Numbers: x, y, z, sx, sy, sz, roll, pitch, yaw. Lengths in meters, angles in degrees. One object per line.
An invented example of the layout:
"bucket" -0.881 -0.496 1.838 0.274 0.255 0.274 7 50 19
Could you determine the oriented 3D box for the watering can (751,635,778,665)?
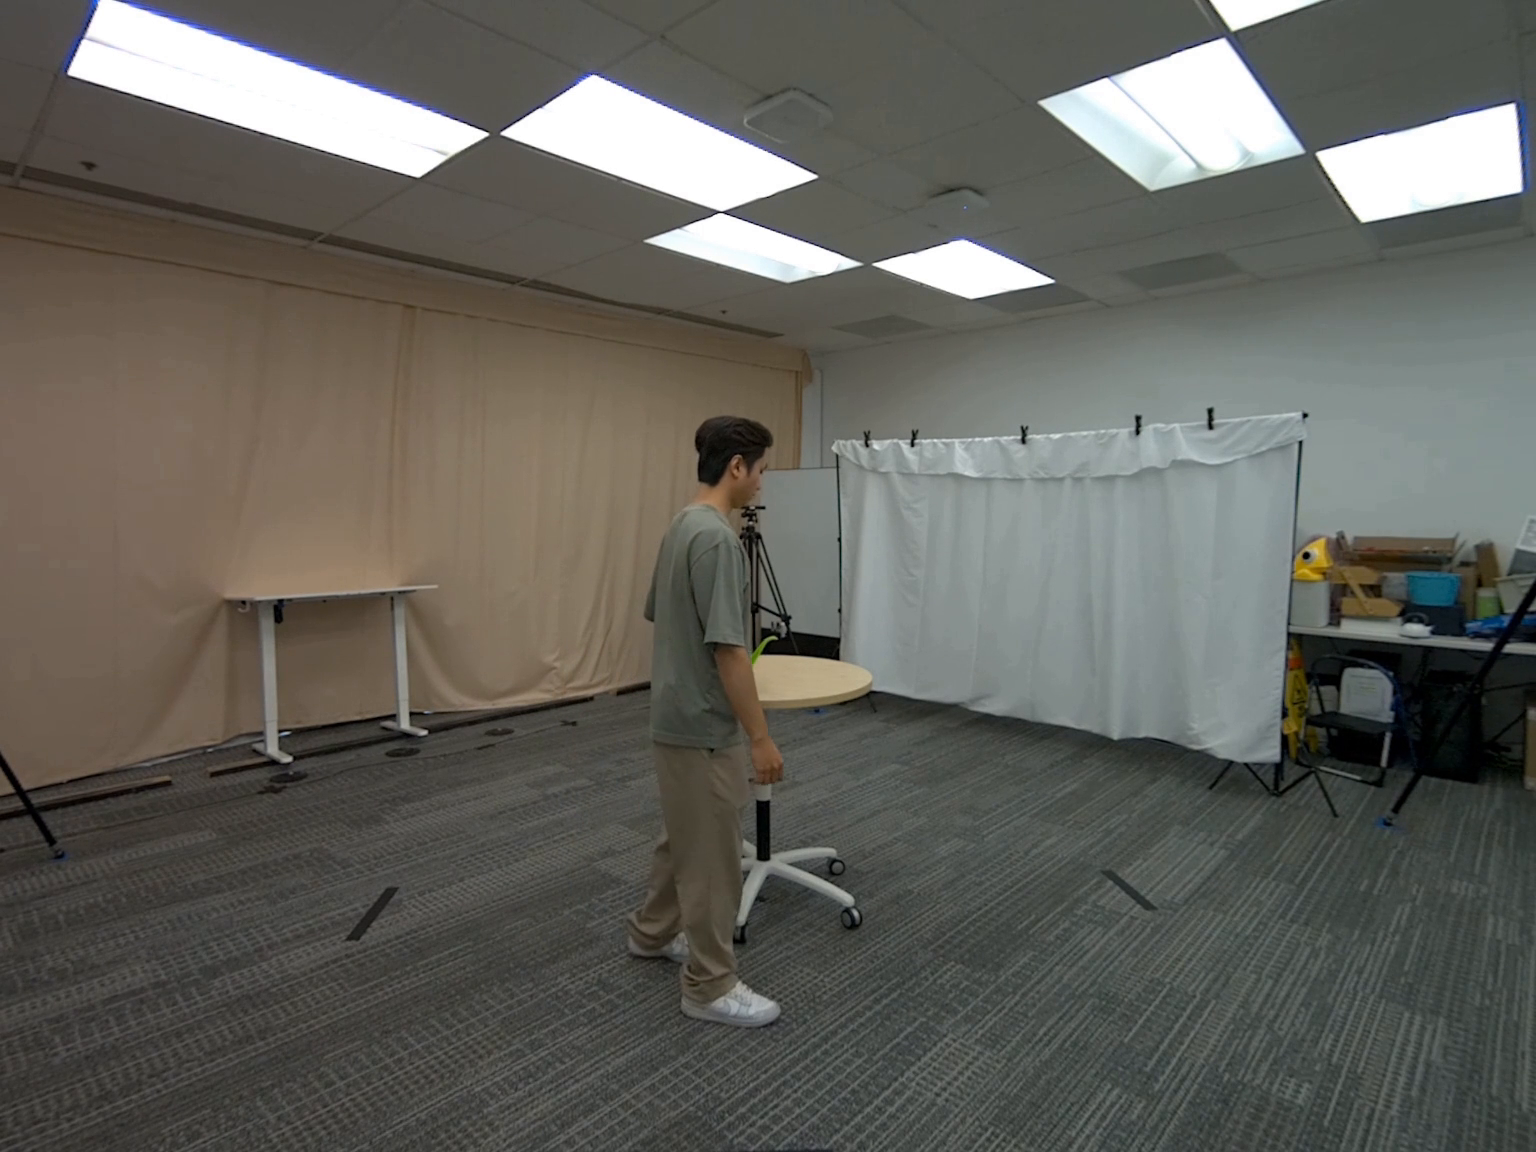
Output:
"watering can" -0.093 0.288 2.718 0.287 0.176 0.095 3 3 34
